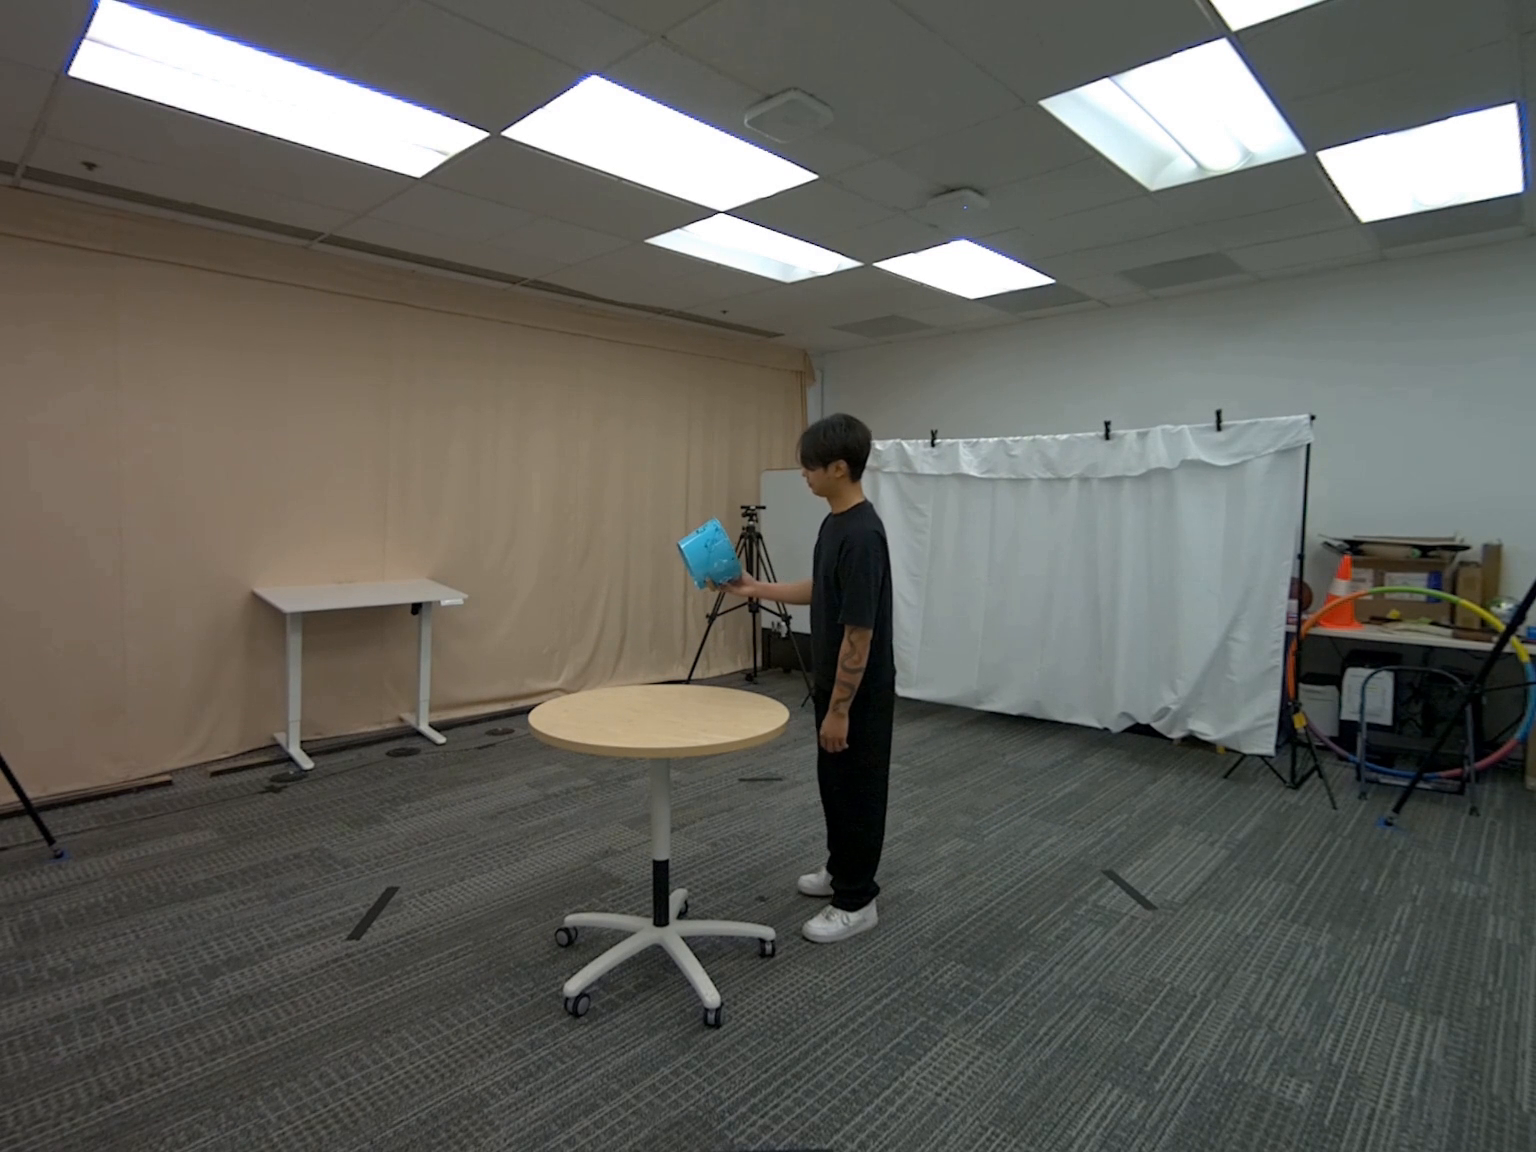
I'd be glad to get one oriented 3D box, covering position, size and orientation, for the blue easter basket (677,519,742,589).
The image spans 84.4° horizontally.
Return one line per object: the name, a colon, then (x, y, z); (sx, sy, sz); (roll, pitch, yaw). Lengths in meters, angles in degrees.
blue easter basket: (-0.202, -0.063, 2.899); (0.155, 0.242, 0.246); (-25, 7, -7)
